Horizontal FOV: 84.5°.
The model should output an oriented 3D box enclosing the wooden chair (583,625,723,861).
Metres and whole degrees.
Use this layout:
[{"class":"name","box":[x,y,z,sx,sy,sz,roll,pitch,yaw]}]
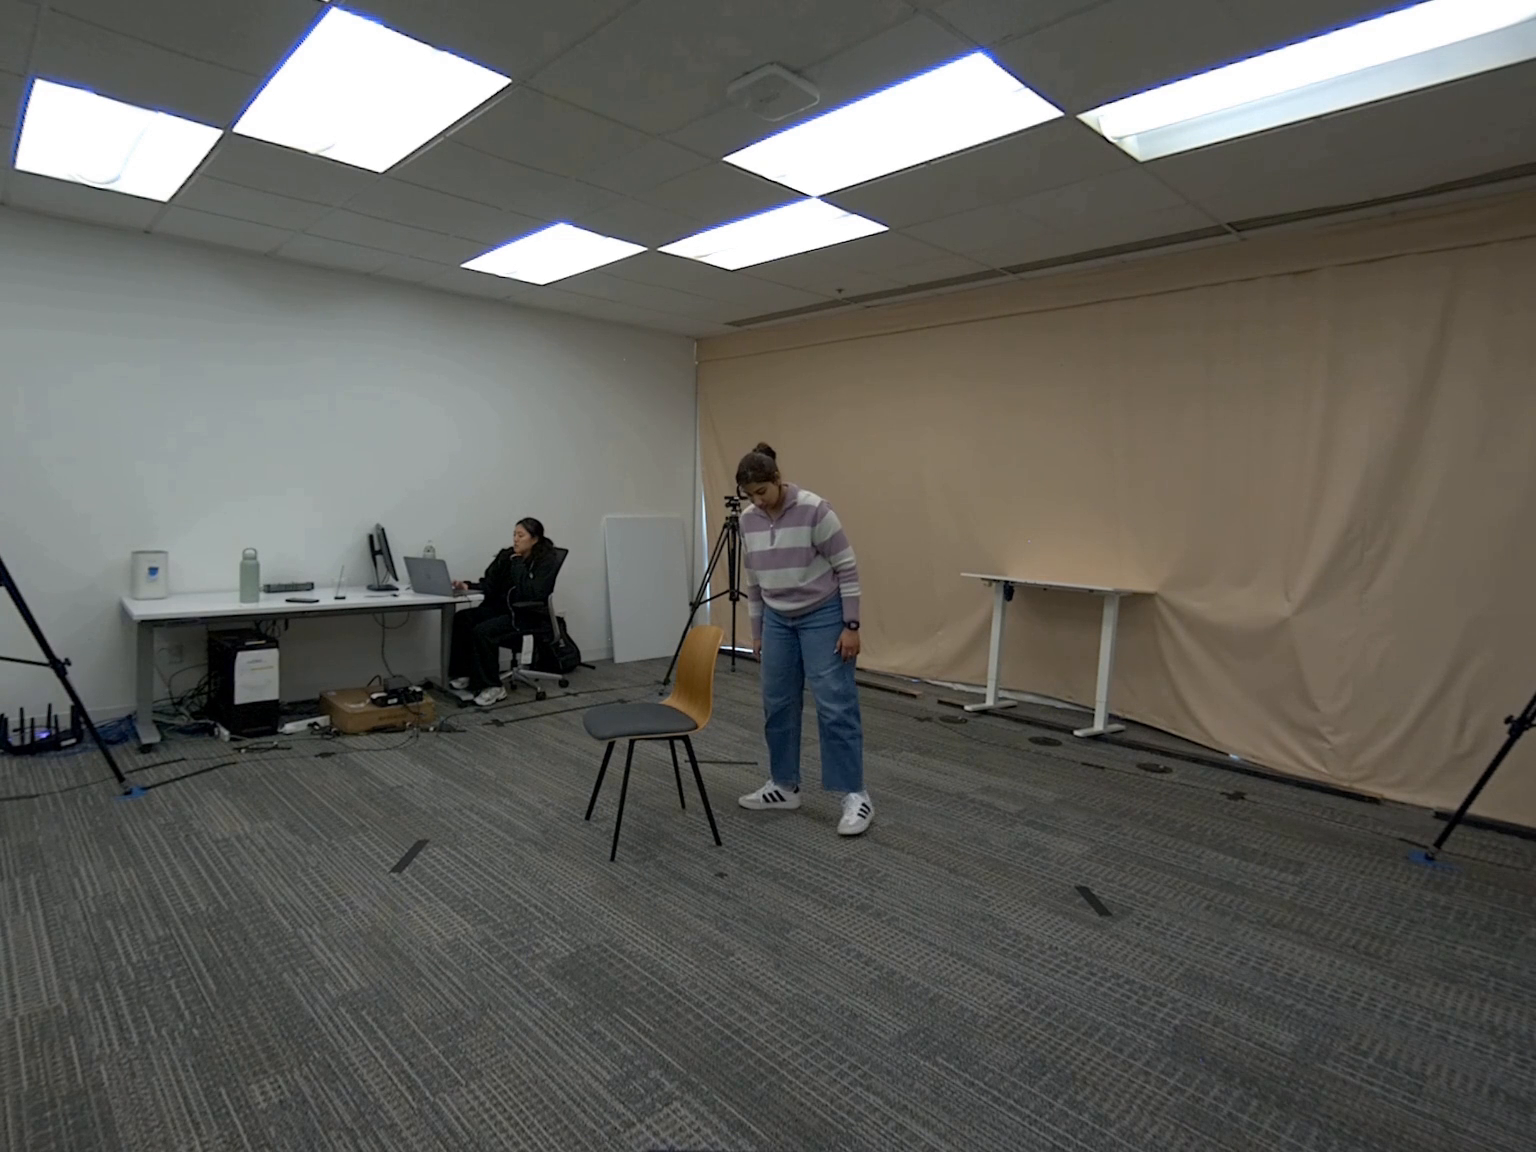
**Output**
[{"class":"wooden chair","box":[-0.487,0.638,3.449,0.513,0.876,0.487,4,2,-24]}]
